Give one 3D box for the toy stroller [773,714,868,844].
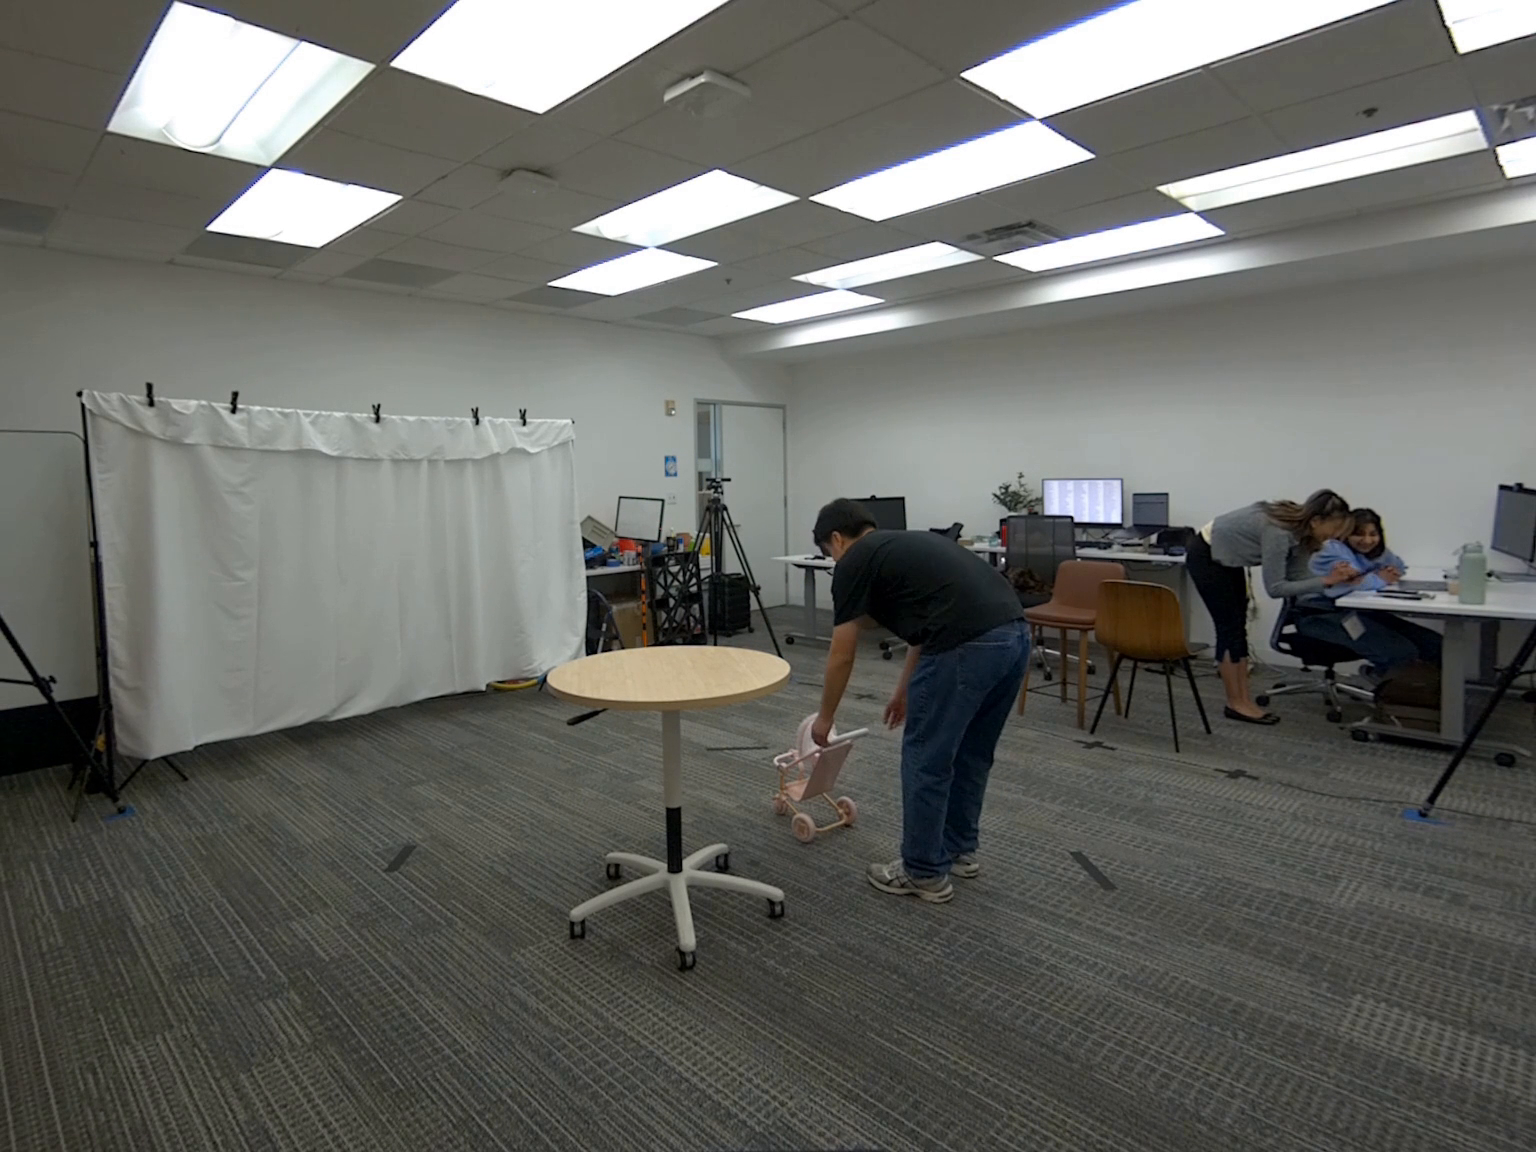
[{"bbox_3d":[0.185,0.778,3.395,0.274,0.528,0.354,-4,21,-38],"label":"toy stroller"}]
